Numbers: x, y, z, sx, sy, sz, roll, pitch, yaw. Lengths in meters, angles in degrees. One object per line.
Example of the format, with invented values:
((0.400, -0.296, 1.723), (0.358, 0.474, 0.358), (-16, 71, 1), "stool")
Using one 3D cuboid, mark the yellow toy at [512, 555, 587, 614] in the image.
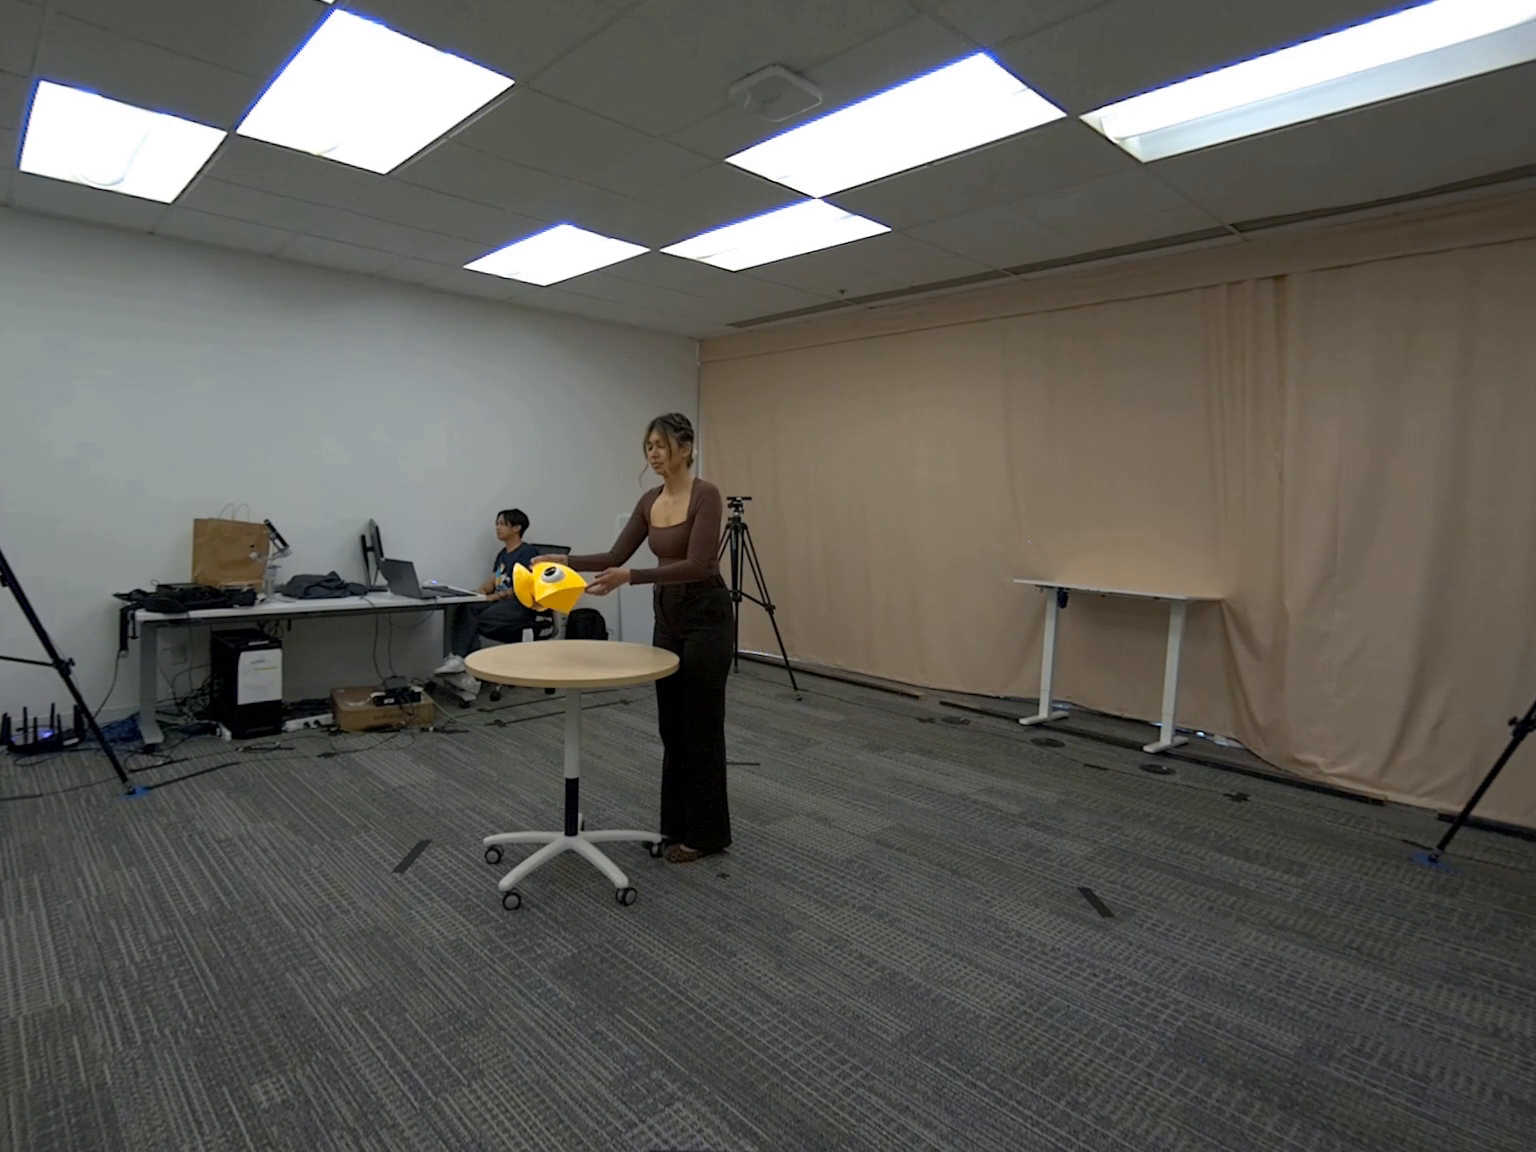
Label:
((-0.751, 0.018, 2.990), (0.232, 0.197, 0.199), (-20, -23, 15), "yellow toy")
